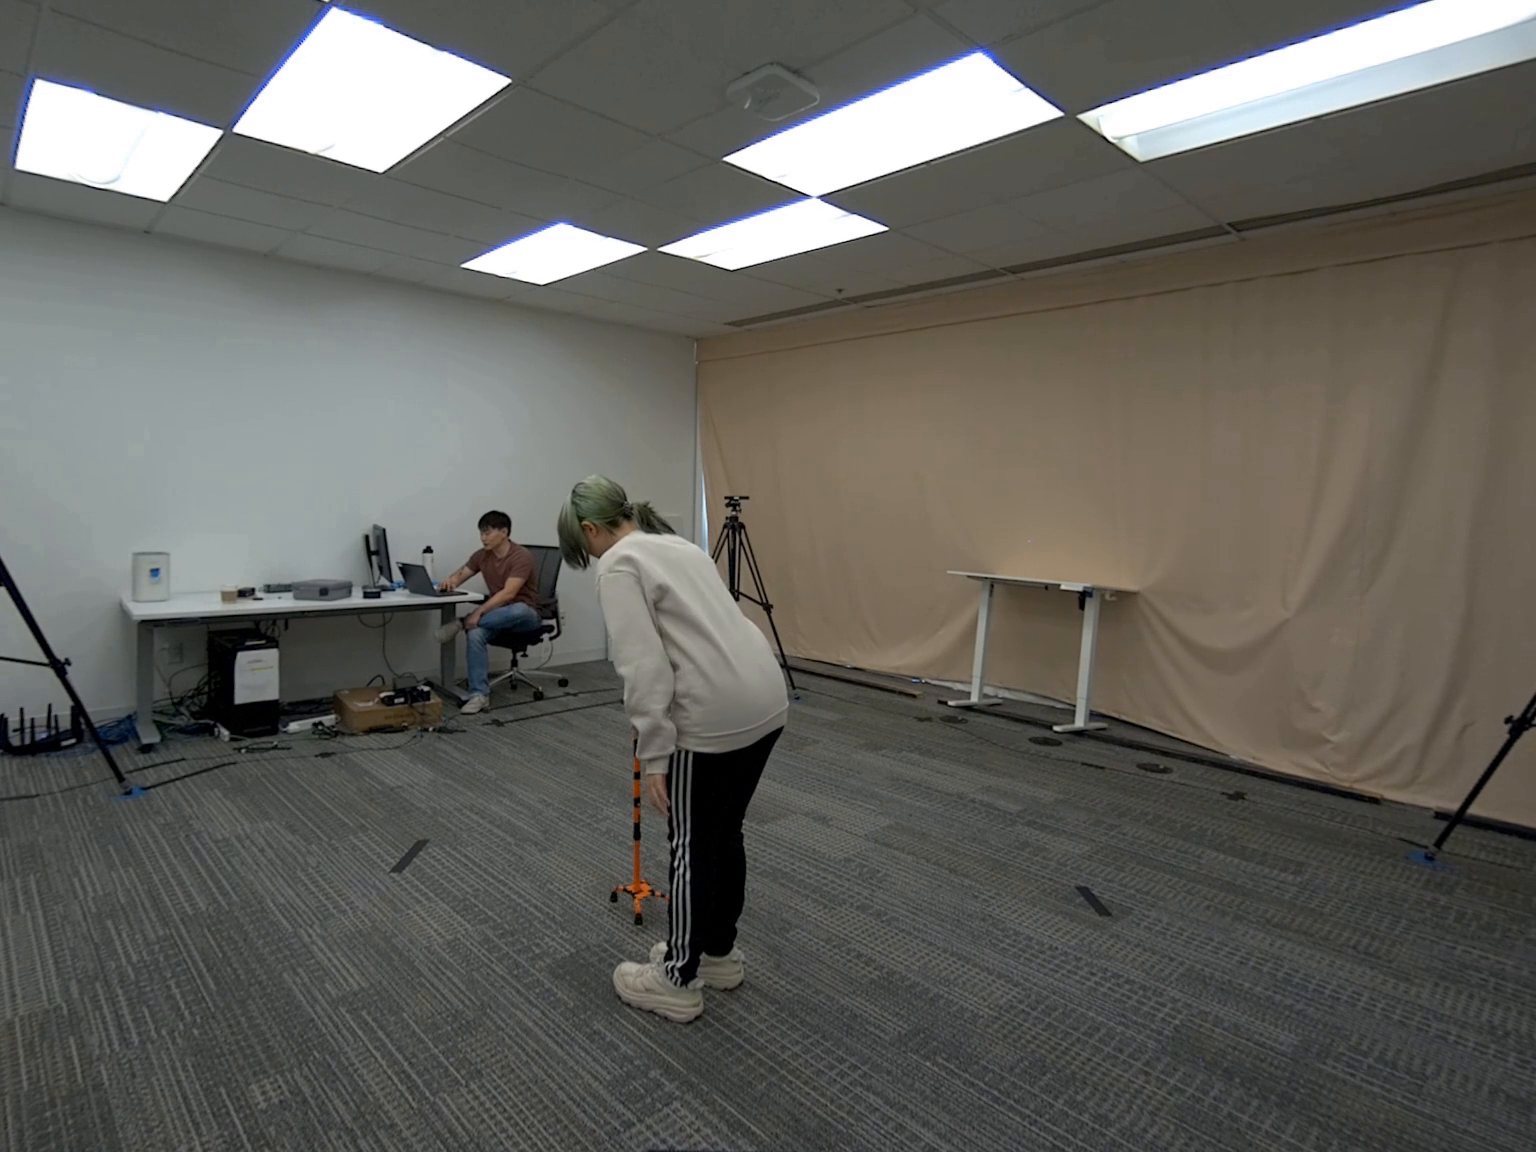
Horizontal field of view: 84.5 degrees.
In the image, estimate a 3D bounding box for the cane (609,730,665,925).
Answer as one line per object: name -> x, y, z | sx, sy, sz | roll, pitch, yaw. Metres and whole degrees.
cane -> -0.426, 0.648, 2.769 | 0.148, 0.907, 0.211 | -1, 1, -36
